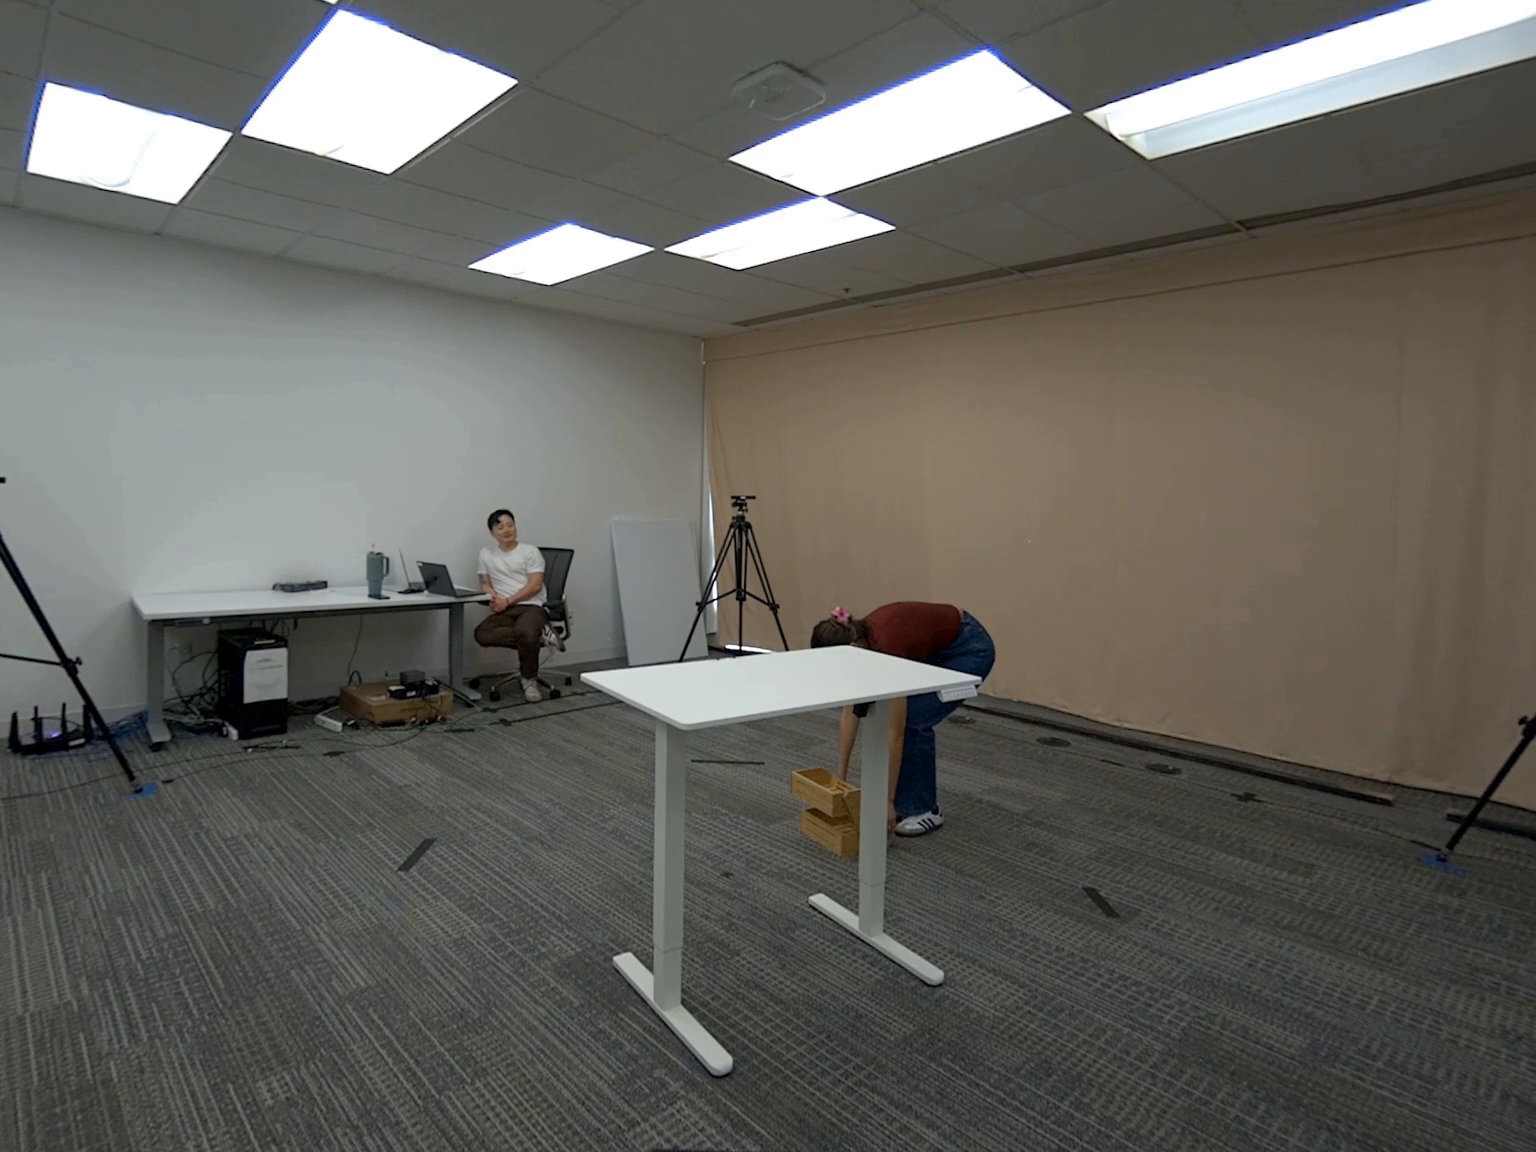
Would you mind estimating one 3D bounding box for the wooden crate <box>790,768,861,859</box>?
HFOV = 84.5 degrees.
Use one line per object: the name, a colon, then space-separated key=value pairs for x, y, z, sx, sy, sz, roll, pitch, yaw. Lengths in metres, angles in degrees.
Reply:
wooden crate: x=0.292 y=0.946 z=3.444 sx=0.296 sy=0.272 sz=0.332 roll=-1 pitch=5 yaw=-30
